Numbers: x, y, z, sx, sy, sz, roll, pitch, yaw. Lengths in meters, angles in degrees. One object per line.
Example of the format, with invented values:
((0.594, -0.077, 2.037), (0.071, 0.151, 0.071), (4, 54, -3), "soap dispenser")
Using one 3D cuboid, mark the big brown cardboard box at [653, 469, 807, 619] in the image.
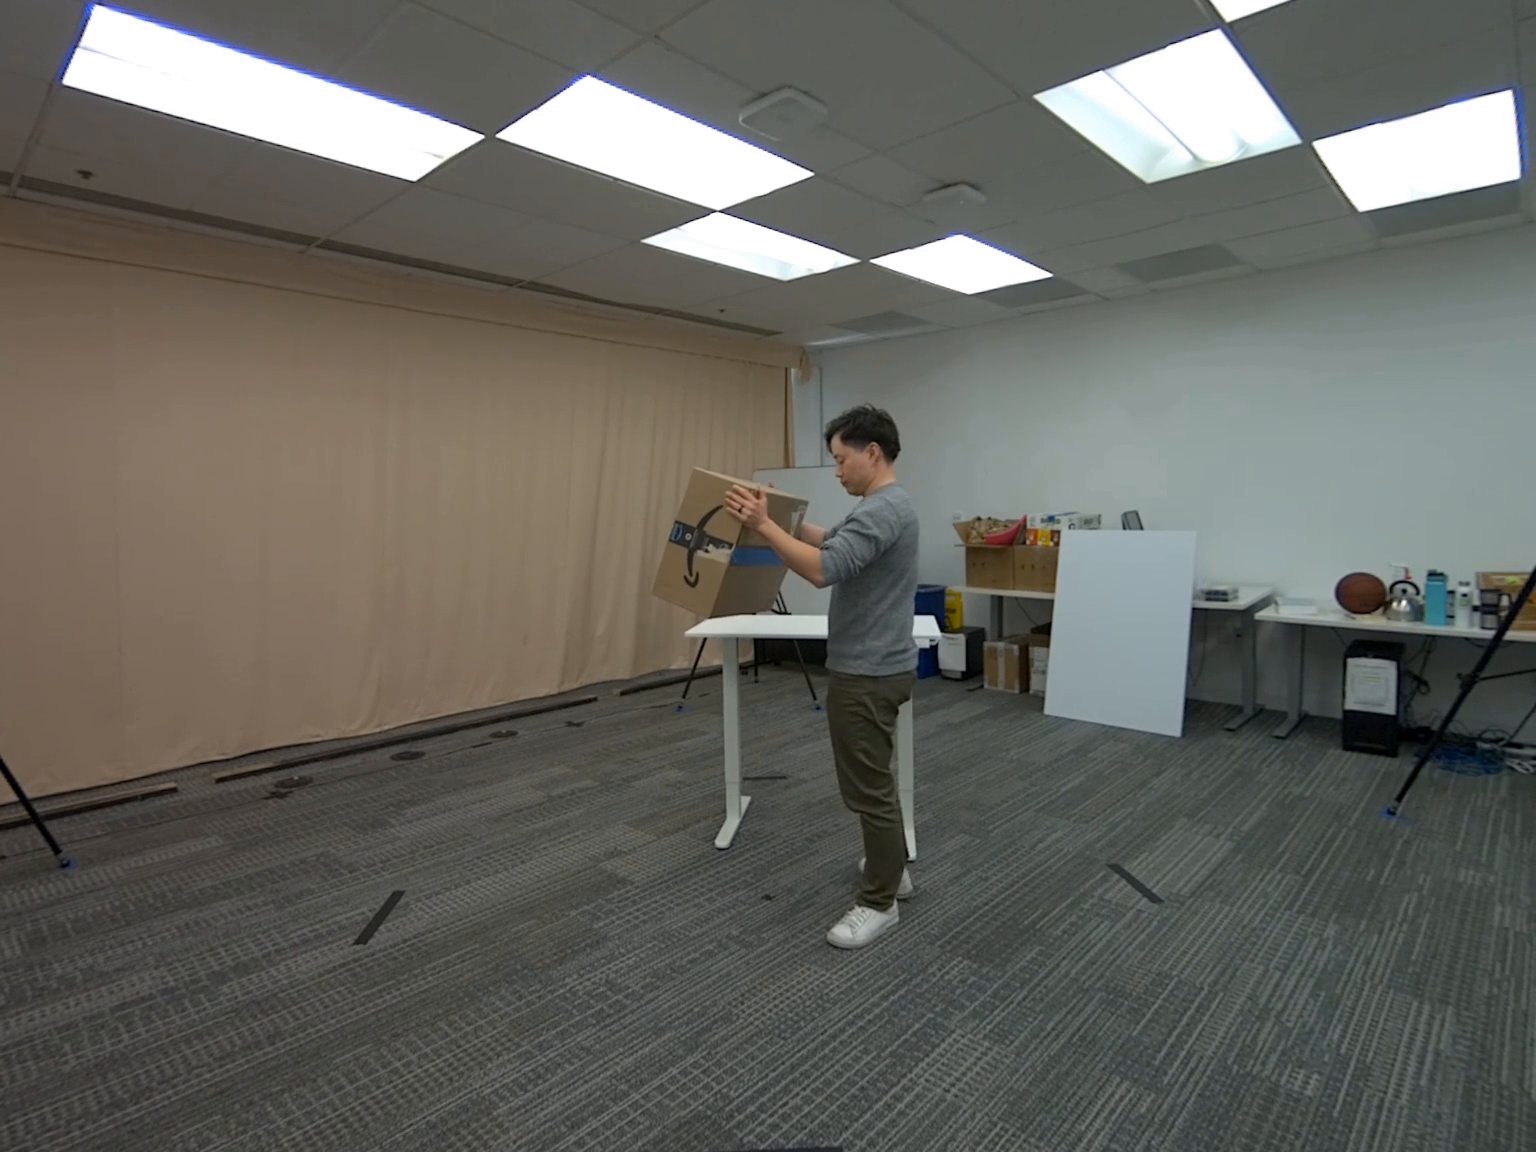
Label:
((-0.101, -0.099, 2.809), (0.239, 0.417, 0.575), (21, 7, 20), "big brown cardboard box")
